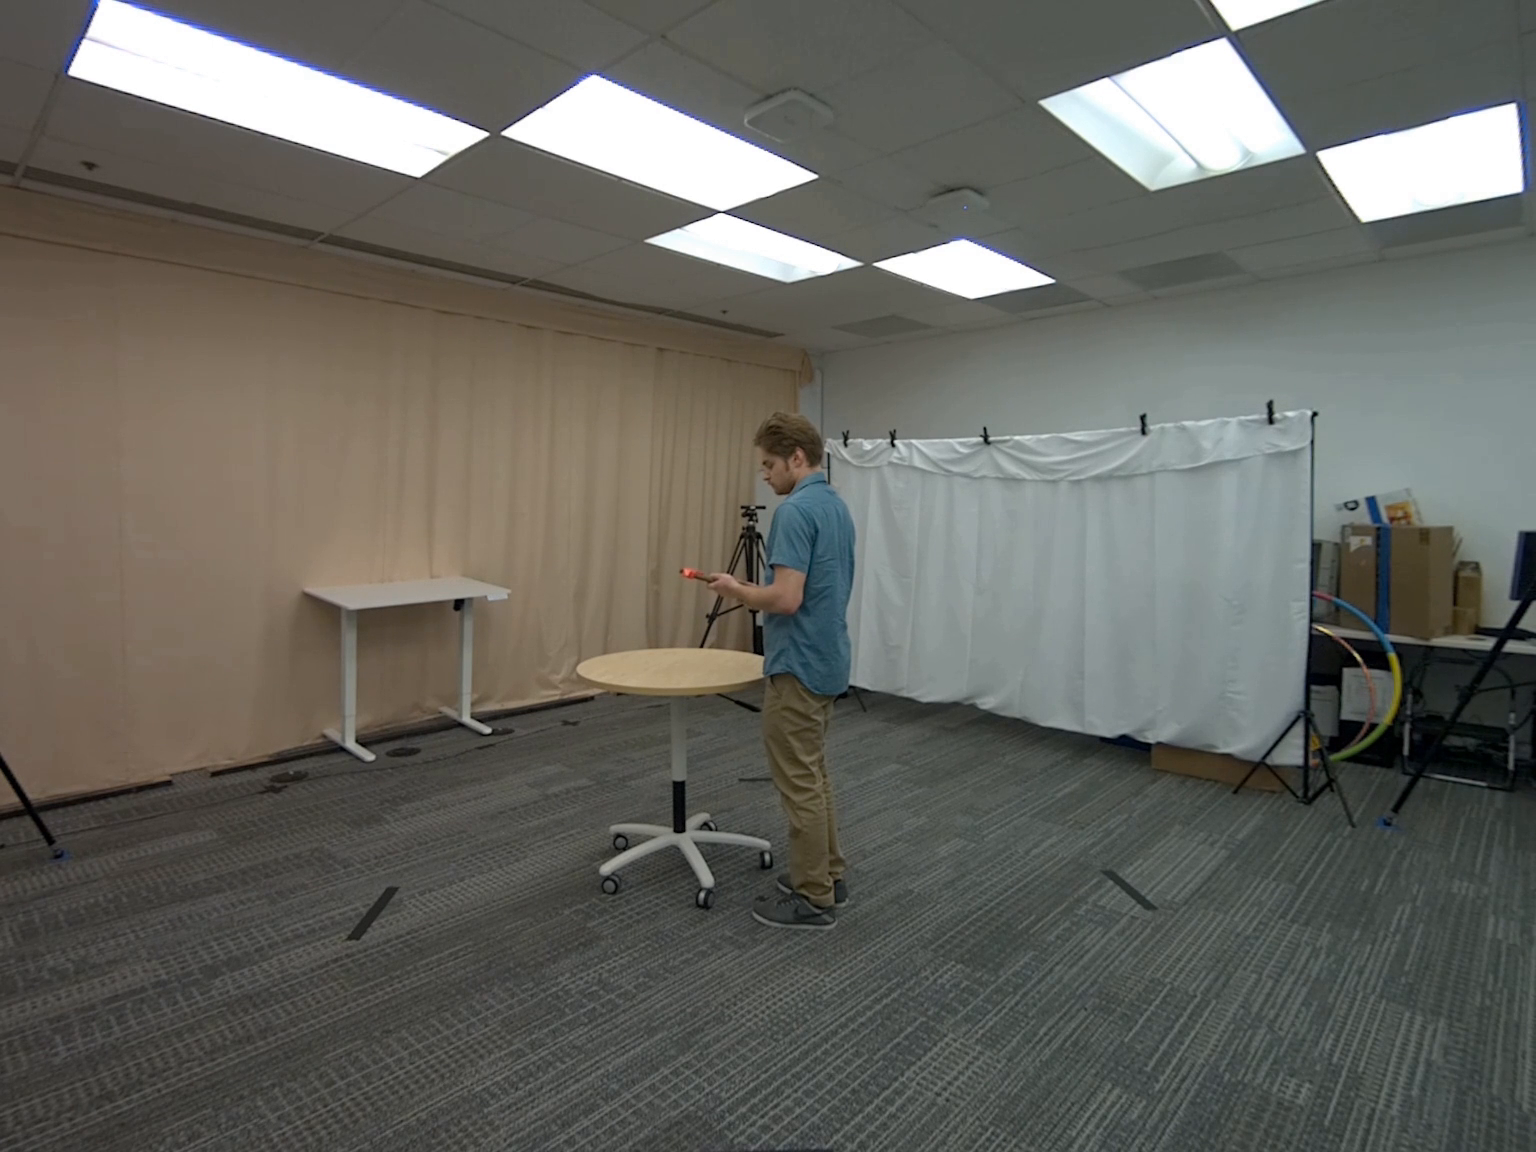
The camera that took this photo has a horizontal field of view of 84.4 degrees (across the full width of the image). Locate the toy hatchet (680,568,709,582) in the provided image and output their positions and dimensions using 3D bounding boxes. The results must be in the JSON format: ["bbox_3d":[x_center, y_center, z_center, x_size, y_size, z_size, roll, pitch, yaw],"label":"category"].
[{"bbox_3d":[-0.168,0.006,2.922,0.265,0.029,0.134,8,5,-17],"label":"toy hatchet"}]
